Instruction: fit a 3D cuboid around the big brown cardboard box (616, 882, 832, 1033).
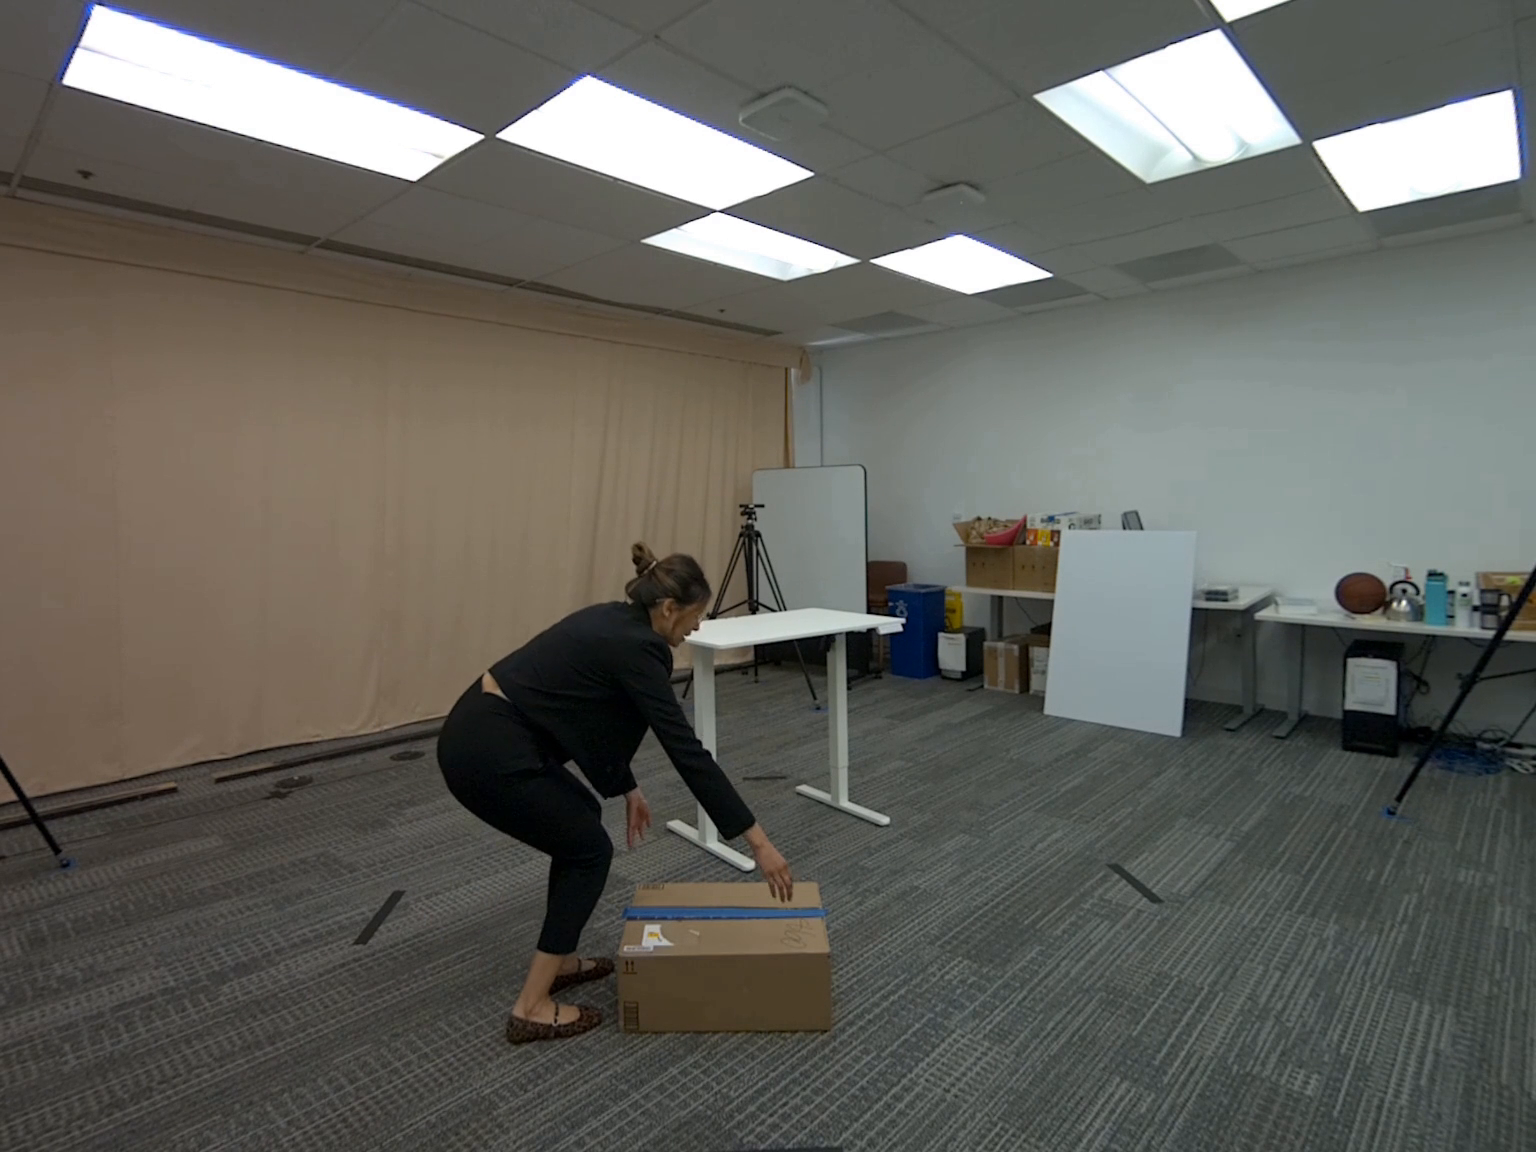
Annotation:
[{"bbox_3d":[-0.116,1.080,2.415,0.589,0.232,0.419,-1,5,-1],"label":"big brown cardboard box"}]
